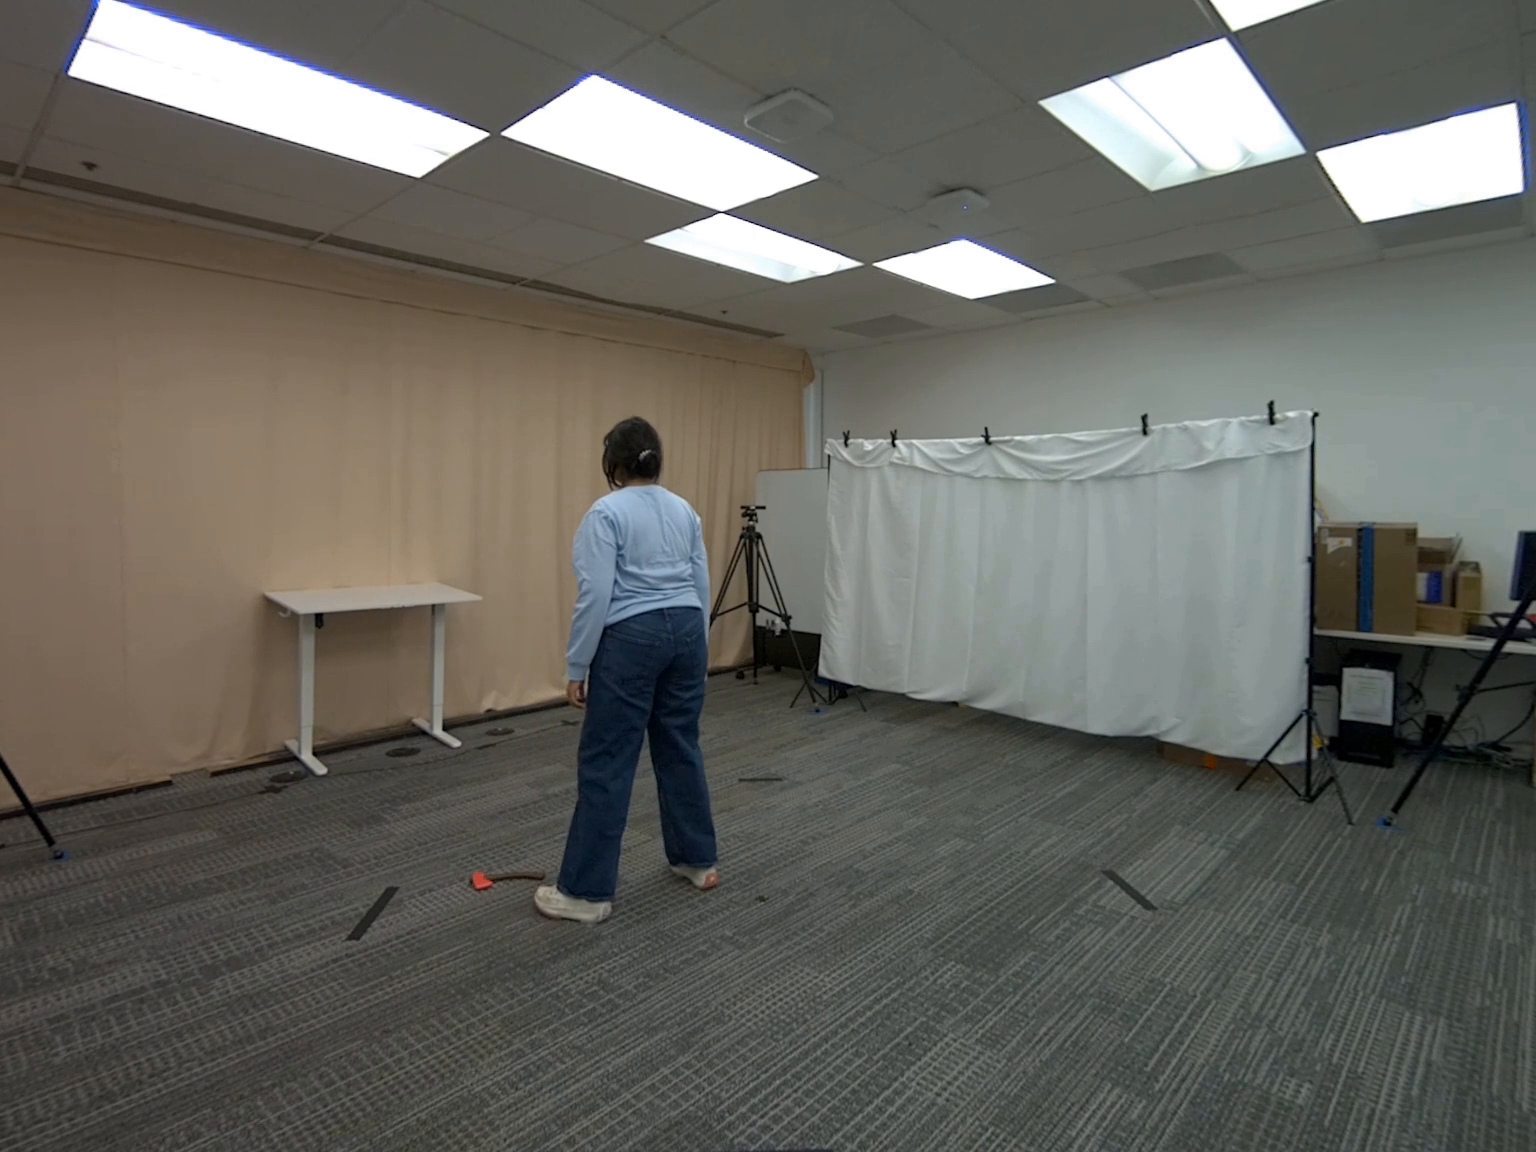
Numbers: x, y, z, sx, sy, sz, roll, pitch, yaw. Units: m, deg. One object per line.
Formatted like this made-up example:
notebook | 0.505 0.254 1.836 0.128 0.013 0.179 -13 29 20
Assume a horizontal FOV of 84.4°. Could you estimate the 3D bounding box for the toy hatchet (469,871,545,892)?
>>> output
toy hatchet | -0.974 1.133 3.123 0.271 0.029 0.131 2 4 2
